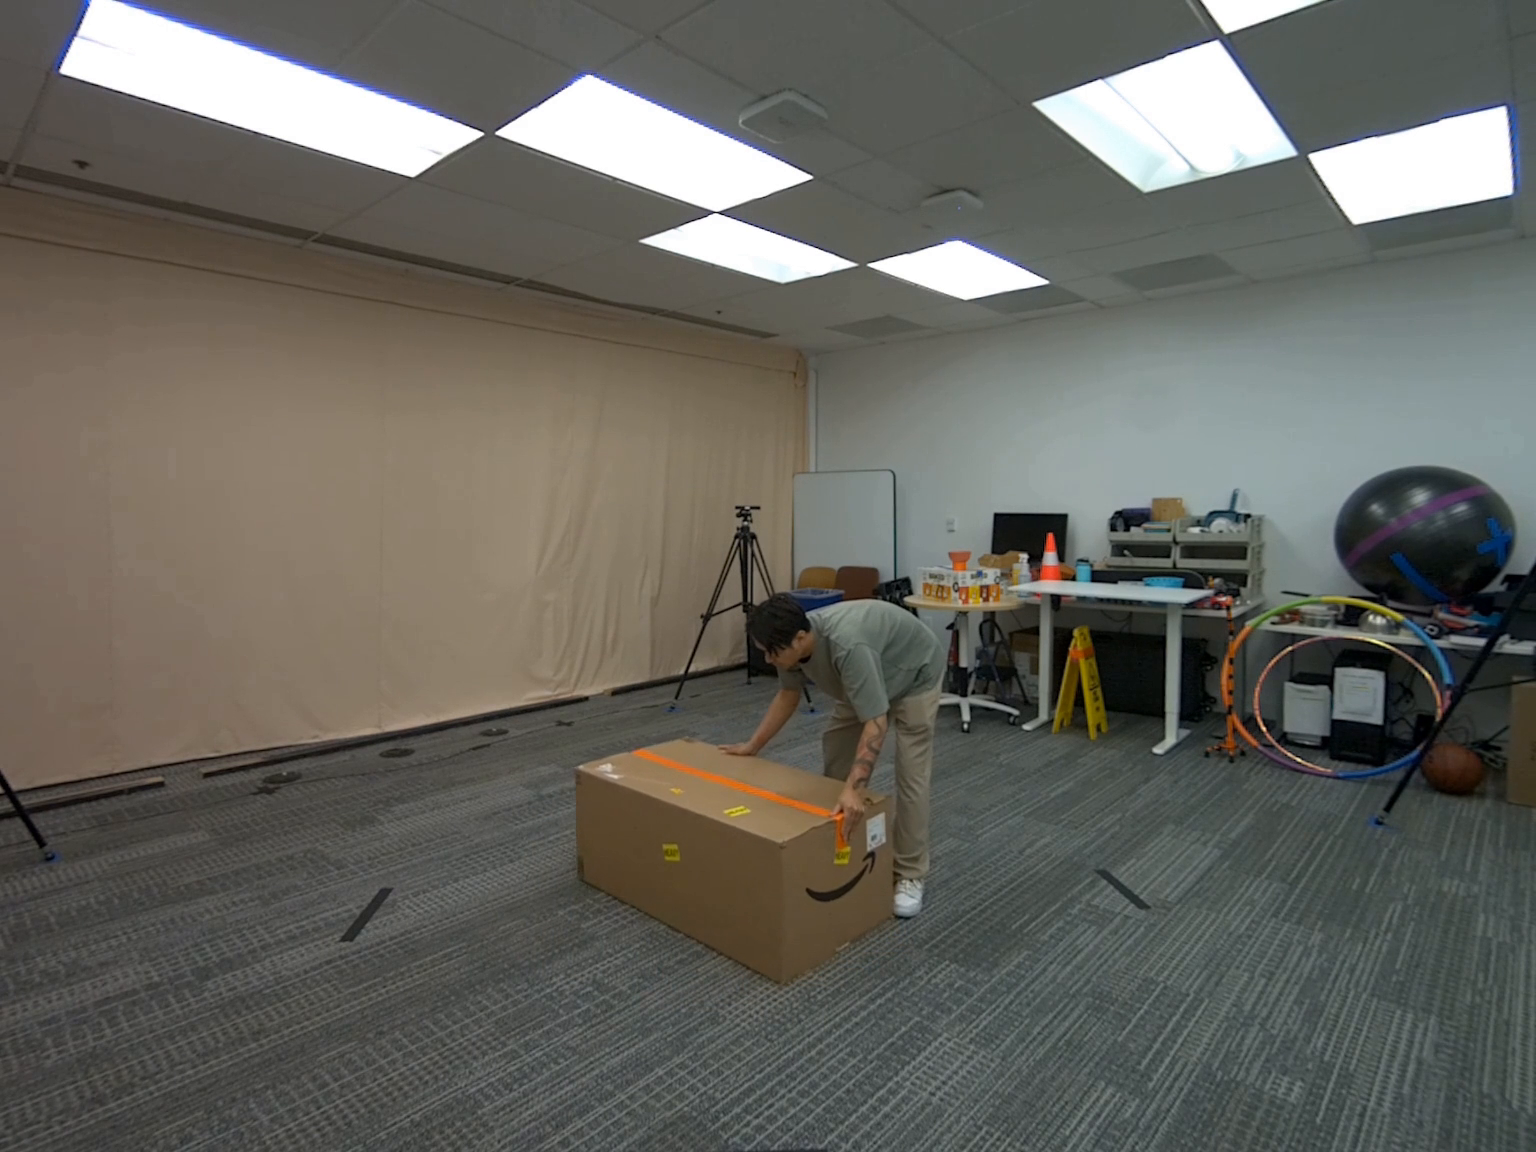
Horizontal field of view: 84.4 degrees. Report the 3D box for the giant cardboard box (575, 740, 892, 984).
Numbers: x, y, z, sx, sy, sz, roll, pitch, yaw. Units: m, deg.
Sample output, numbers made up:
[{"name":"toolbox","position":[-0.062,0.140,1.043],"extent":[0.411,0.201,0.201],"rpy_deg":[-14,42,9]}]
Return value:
[{"name":"giant cardboard box","position":[-0.152,0.929,2.986],"extent":[1.060,0.425,0.559],"rpy_deg":[4,5,43]}]
